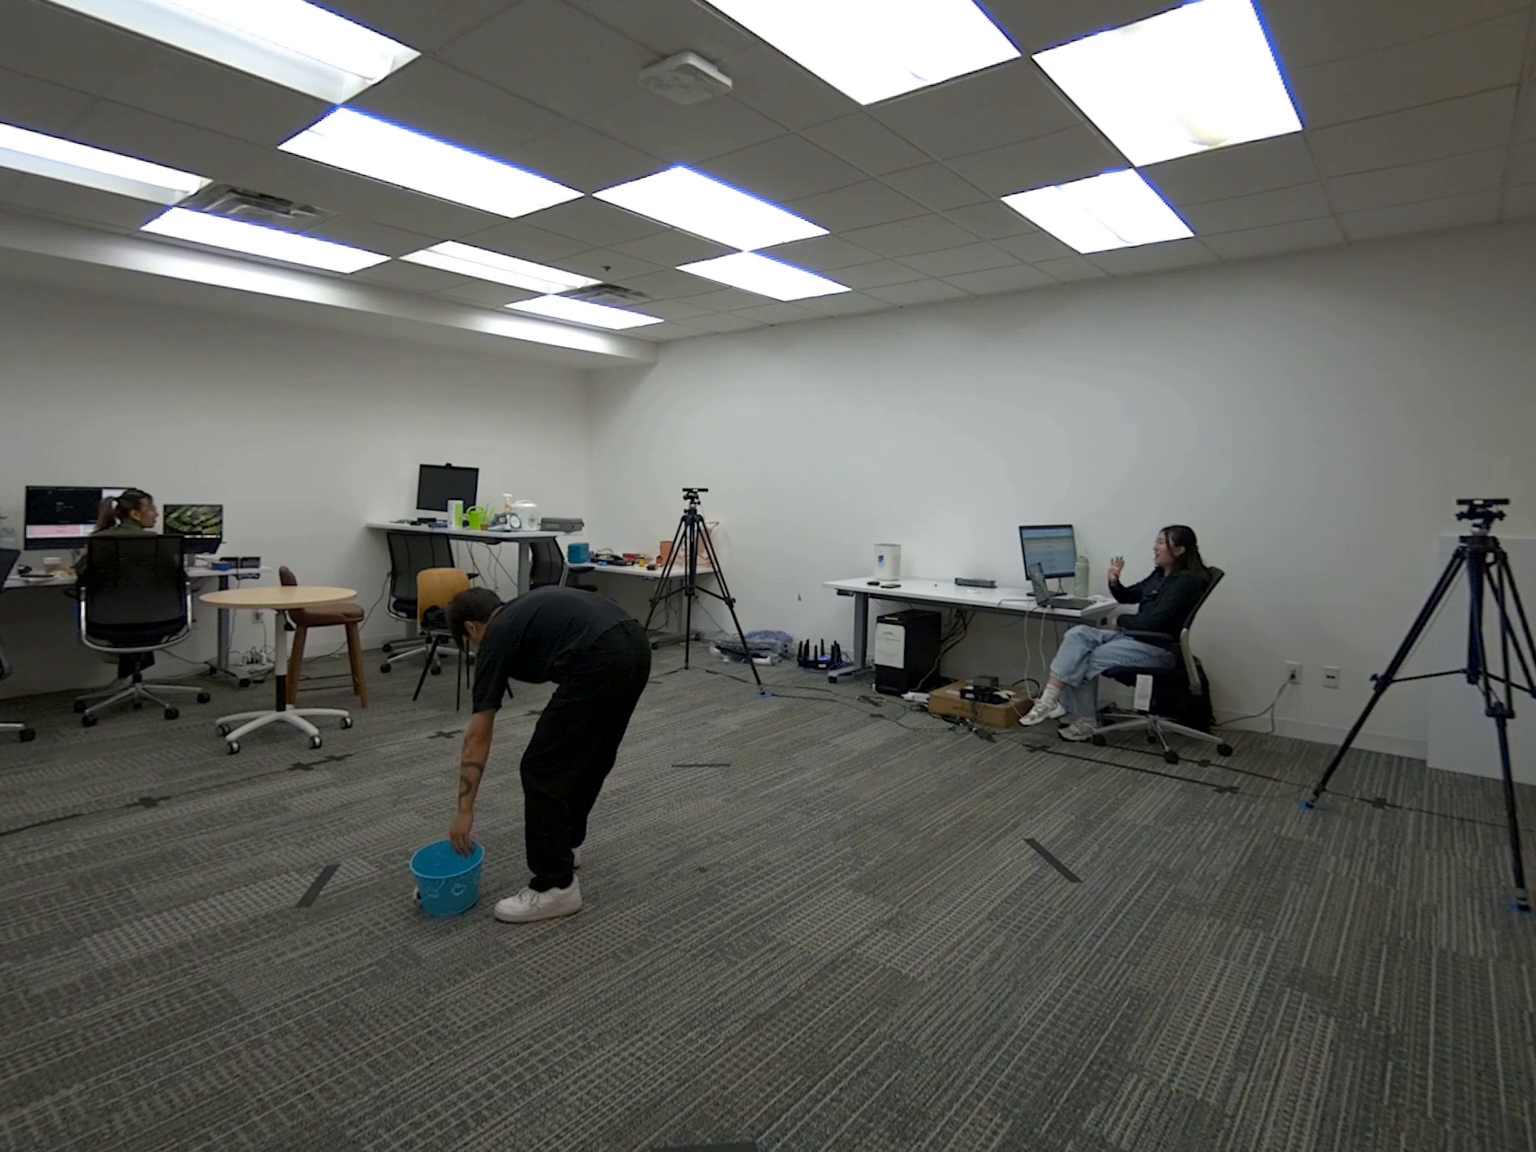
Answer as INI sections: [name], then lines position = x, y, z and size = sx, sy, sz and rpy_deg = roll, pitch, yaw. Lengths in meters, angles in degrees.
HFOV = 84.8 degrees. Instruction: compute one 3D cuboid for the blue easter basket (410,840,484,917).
[blue easter basket]
position = -1.064, 1.001, 2.818
size = 0.243, 0.154, 0.246
rpy_deg = 0, 12, -2
